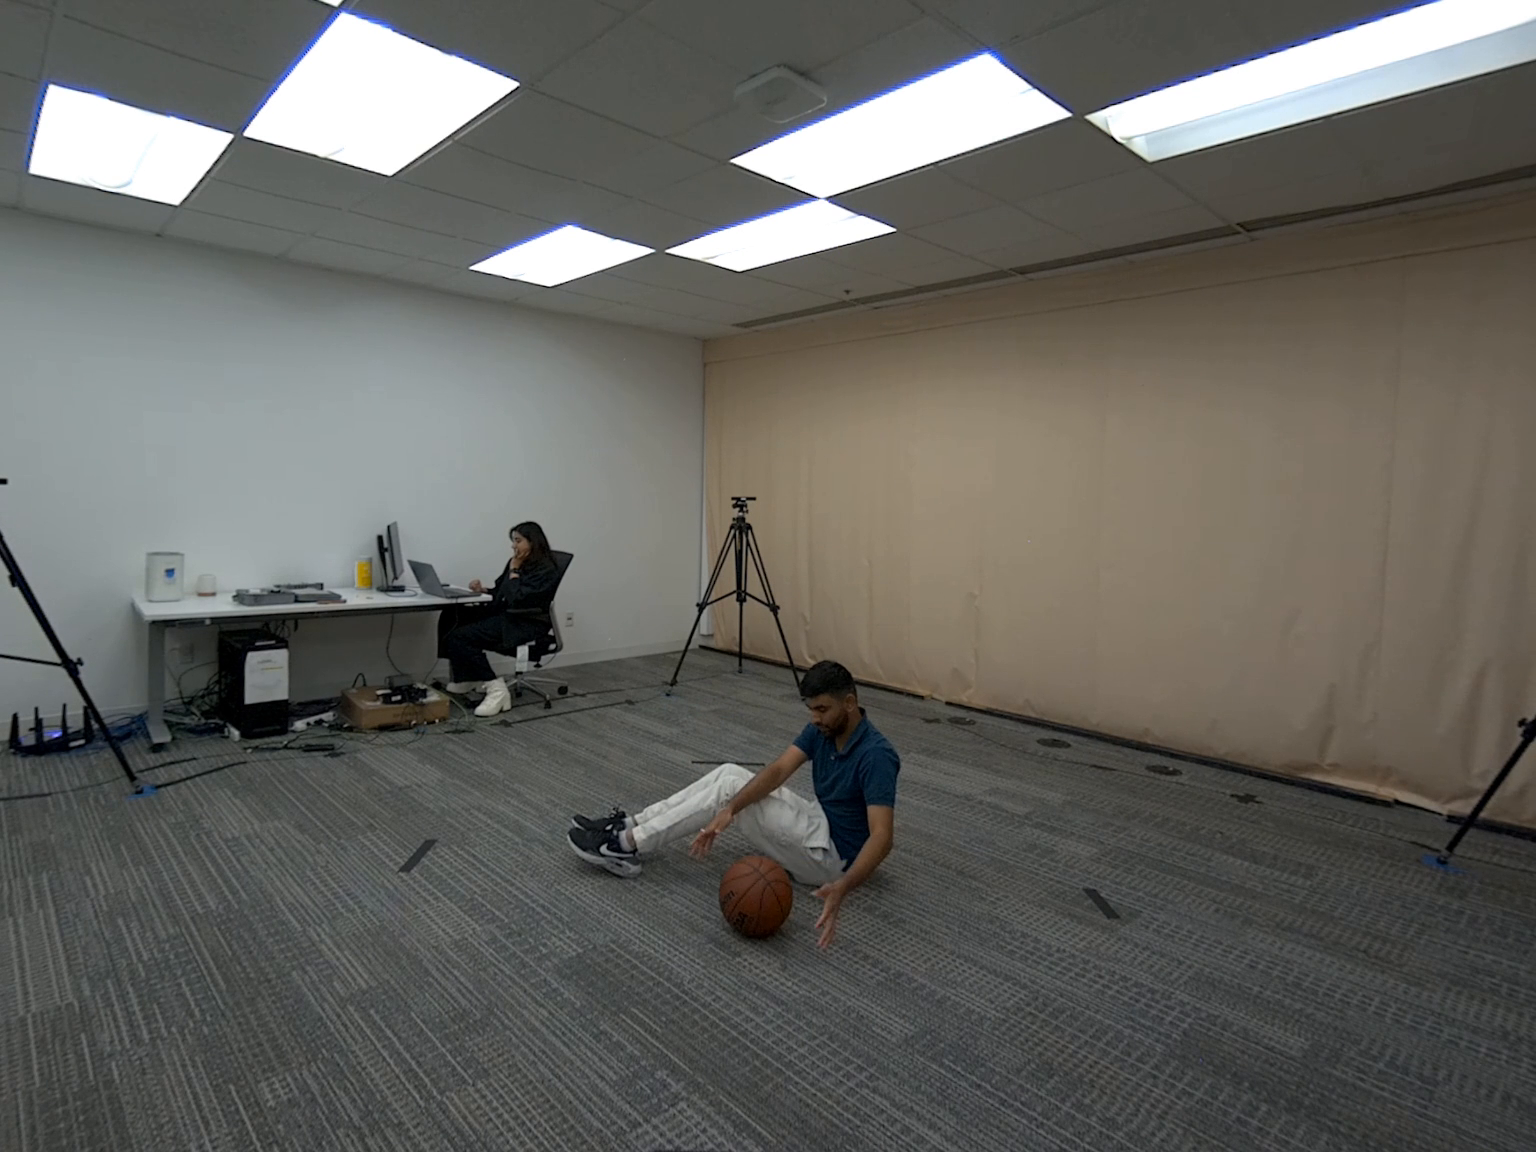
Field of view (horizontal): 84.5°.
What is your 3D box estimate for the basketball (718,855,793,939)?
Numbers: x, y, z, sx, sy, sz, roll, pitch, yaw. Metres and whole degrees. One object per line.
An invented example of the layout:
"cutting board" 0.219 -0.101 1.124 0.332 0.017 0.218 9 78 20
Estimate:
"basketball" -0.053 1.023 2.697 0.236 0.235 0.237 1 4 -1
